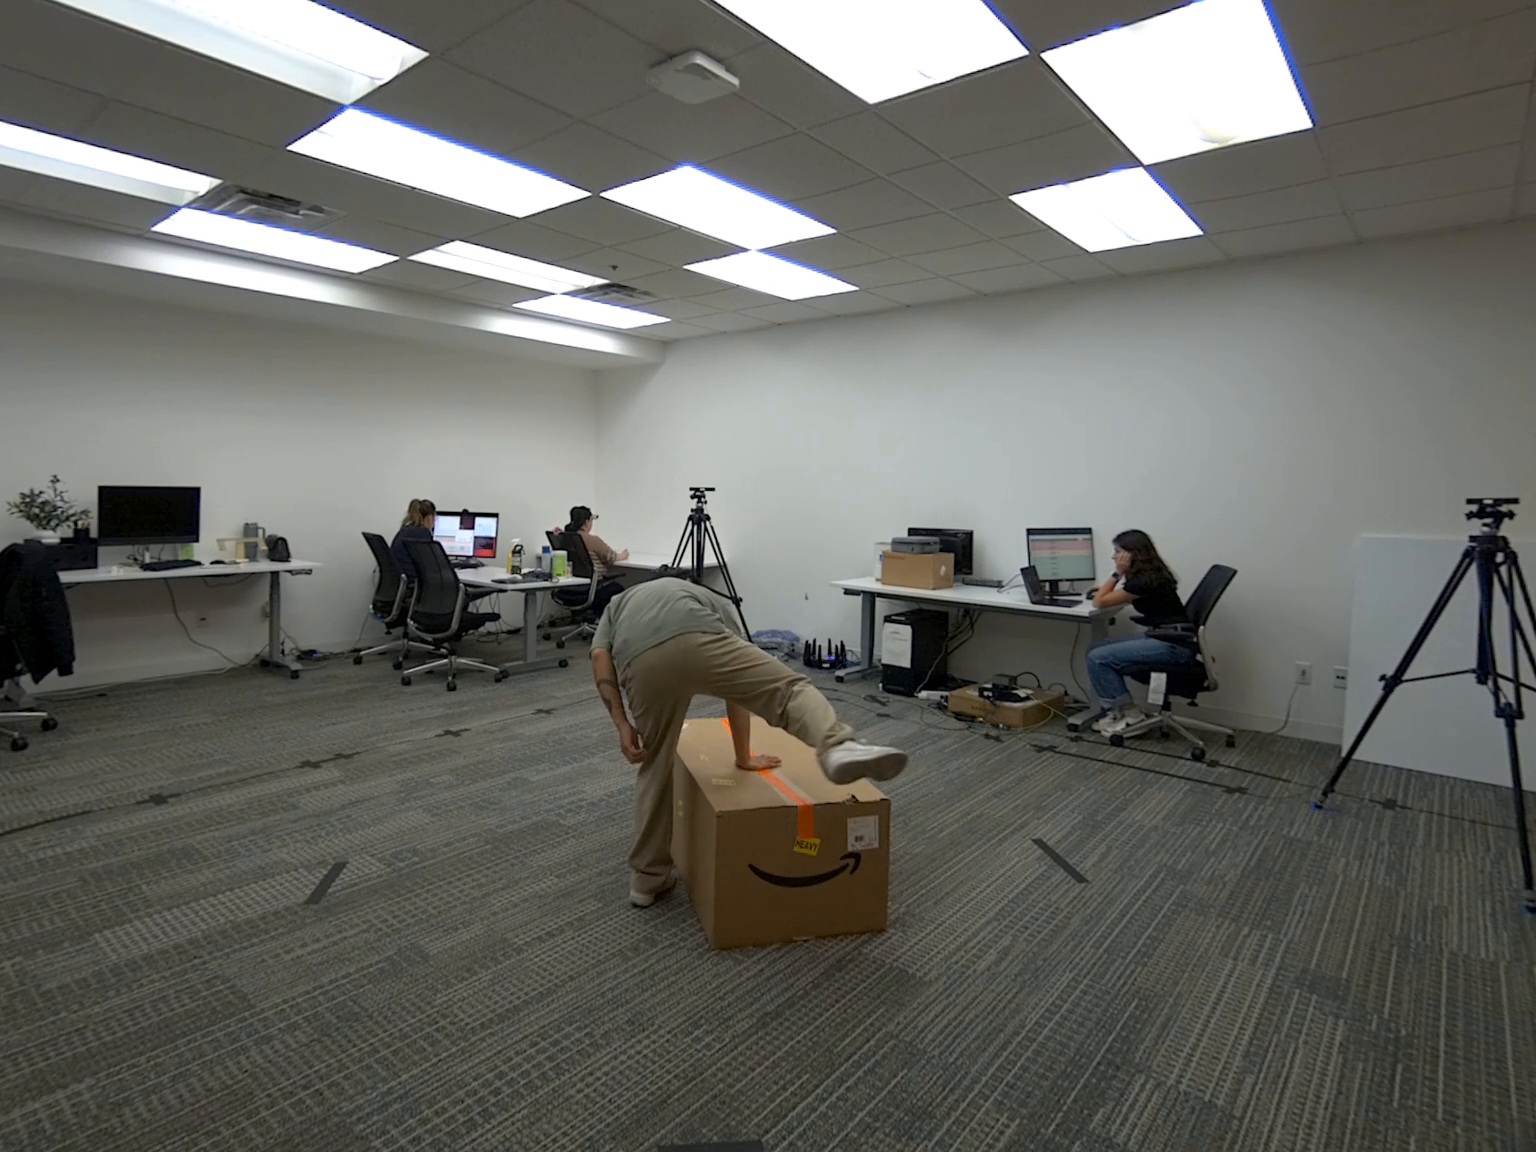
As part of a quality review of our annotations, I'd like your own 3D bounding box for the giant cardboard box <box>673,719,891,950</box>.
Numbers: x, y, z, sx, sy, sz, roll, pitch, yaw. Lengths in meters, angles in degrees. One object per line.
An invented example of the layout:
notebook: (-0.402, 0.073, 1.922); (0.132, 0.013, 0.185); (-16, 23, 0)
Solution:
giant cardboard box: (-0.043, 0.858, 3.101); (0.569, 0.424, 1.046); (-1, 5, -16)
